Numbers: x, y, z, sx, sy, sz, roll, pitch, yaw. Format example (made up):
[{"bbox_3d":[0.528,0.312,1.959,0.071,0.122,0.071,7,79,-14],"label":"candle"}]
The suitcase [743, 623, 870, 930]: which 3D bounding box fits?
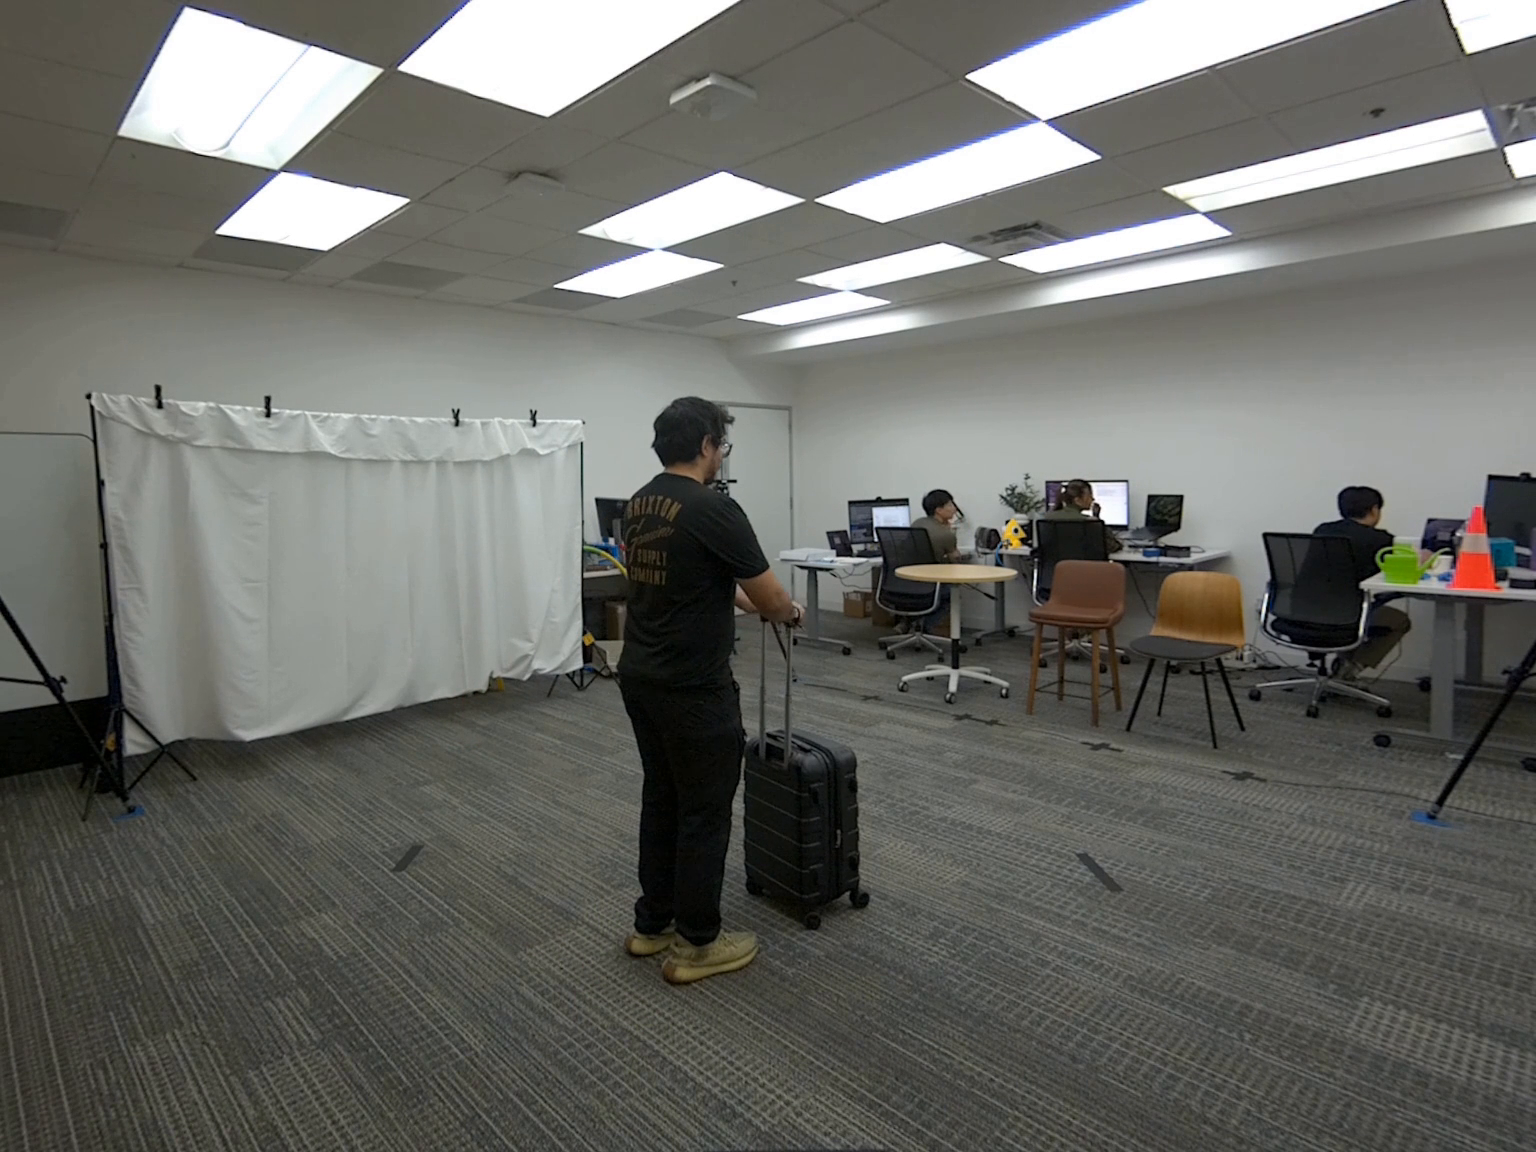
[{"bbox_3d":[0.116,0.600,2.818,0.250,0.975,0.395,-3,4,-35],"label":"suitcase"}]
